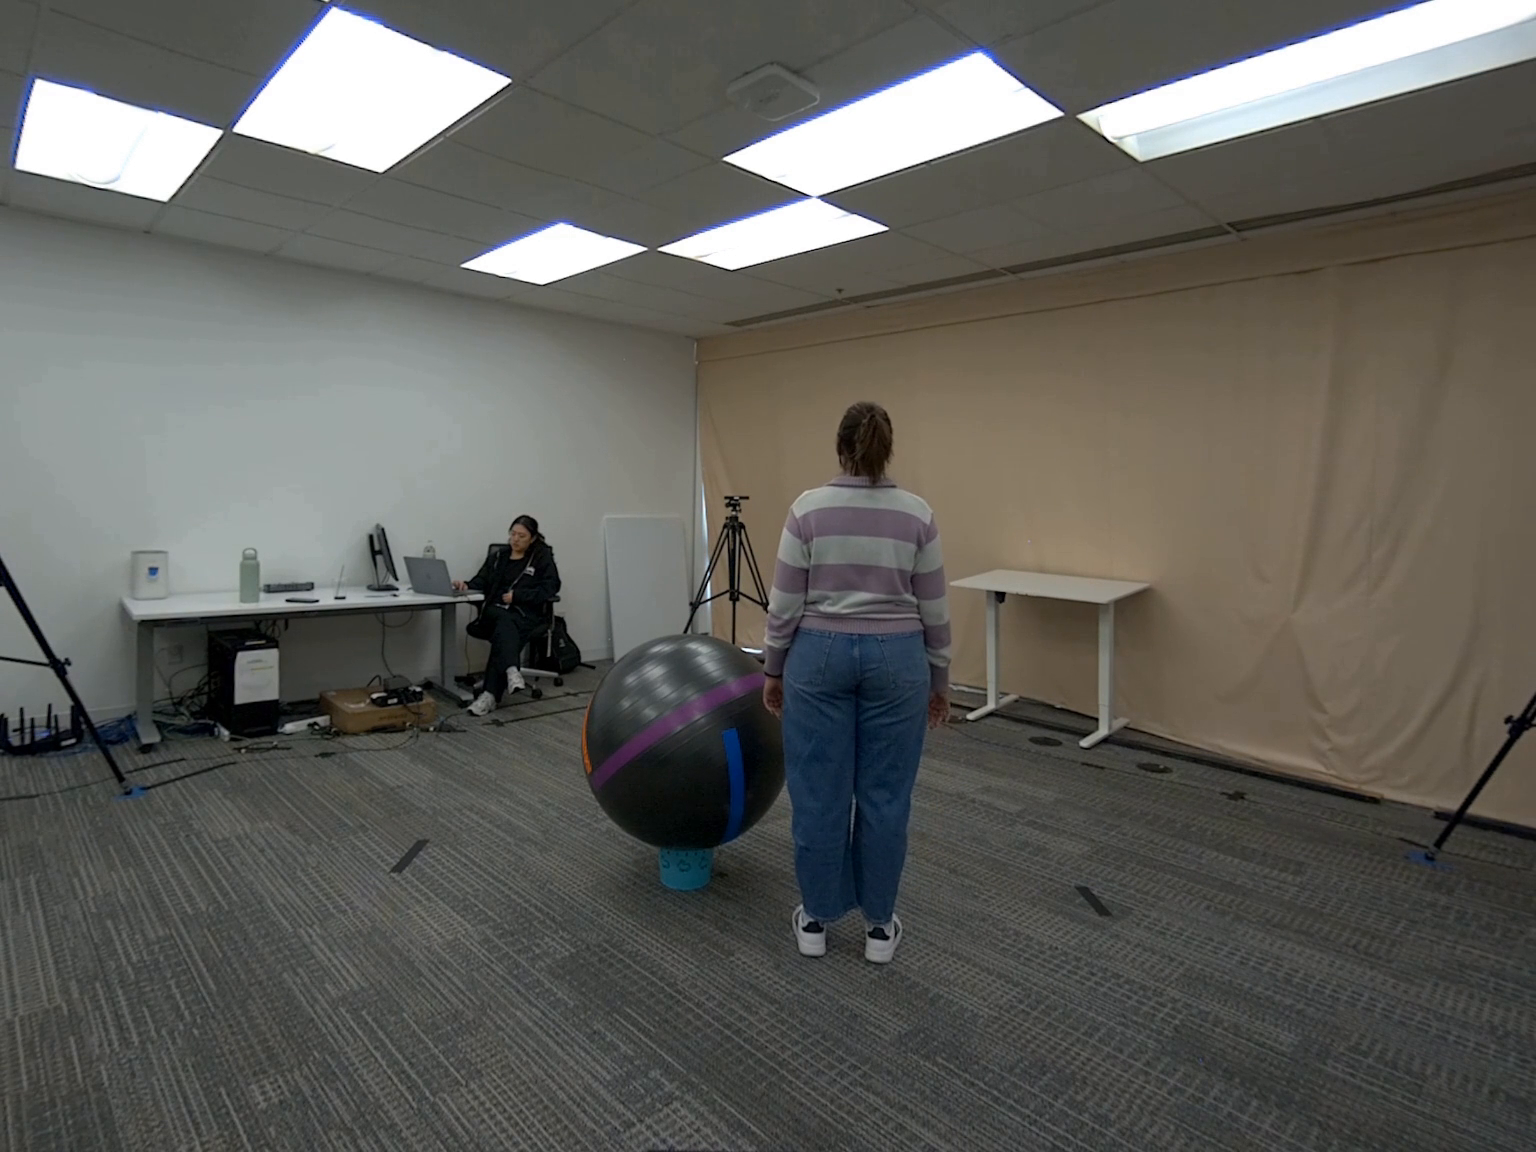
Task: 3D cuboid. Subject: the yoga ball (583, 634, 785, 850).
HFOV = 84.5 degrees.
[{"bbox_3d":[-0.296,0.594,3.049,0.757,0.756,0.761,1,4,-1],"label":"yoga ball"}]
